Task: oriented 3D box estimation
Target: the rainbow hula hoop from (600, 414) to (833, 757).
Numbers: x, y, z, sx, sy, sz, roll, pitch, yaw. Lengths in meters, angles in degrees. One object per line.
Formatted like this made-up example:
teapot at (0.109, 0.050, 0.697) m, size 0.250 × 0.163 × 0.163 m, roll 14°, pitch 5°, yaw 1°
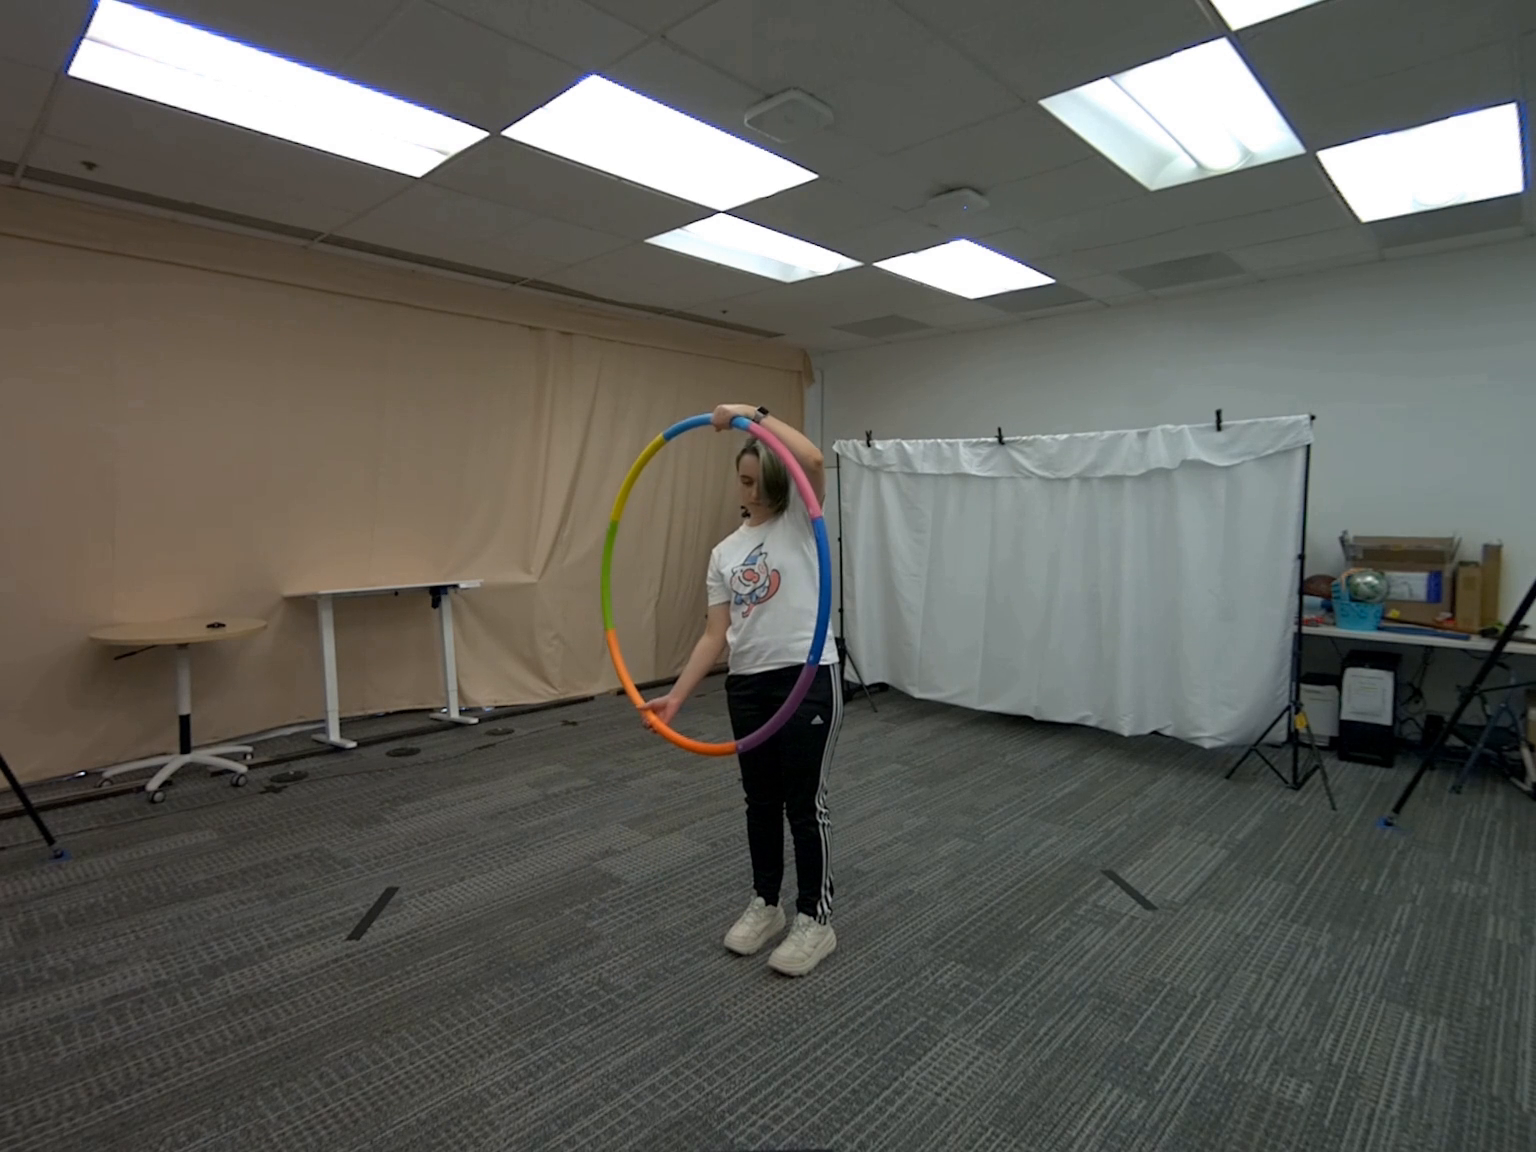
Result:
rainbow hula hoop at (-0.189, 0.021, 2.467) m, size 1.011 × 0.978 × 0.034 m, roll 4°, pitch 0°, yaw 44°
